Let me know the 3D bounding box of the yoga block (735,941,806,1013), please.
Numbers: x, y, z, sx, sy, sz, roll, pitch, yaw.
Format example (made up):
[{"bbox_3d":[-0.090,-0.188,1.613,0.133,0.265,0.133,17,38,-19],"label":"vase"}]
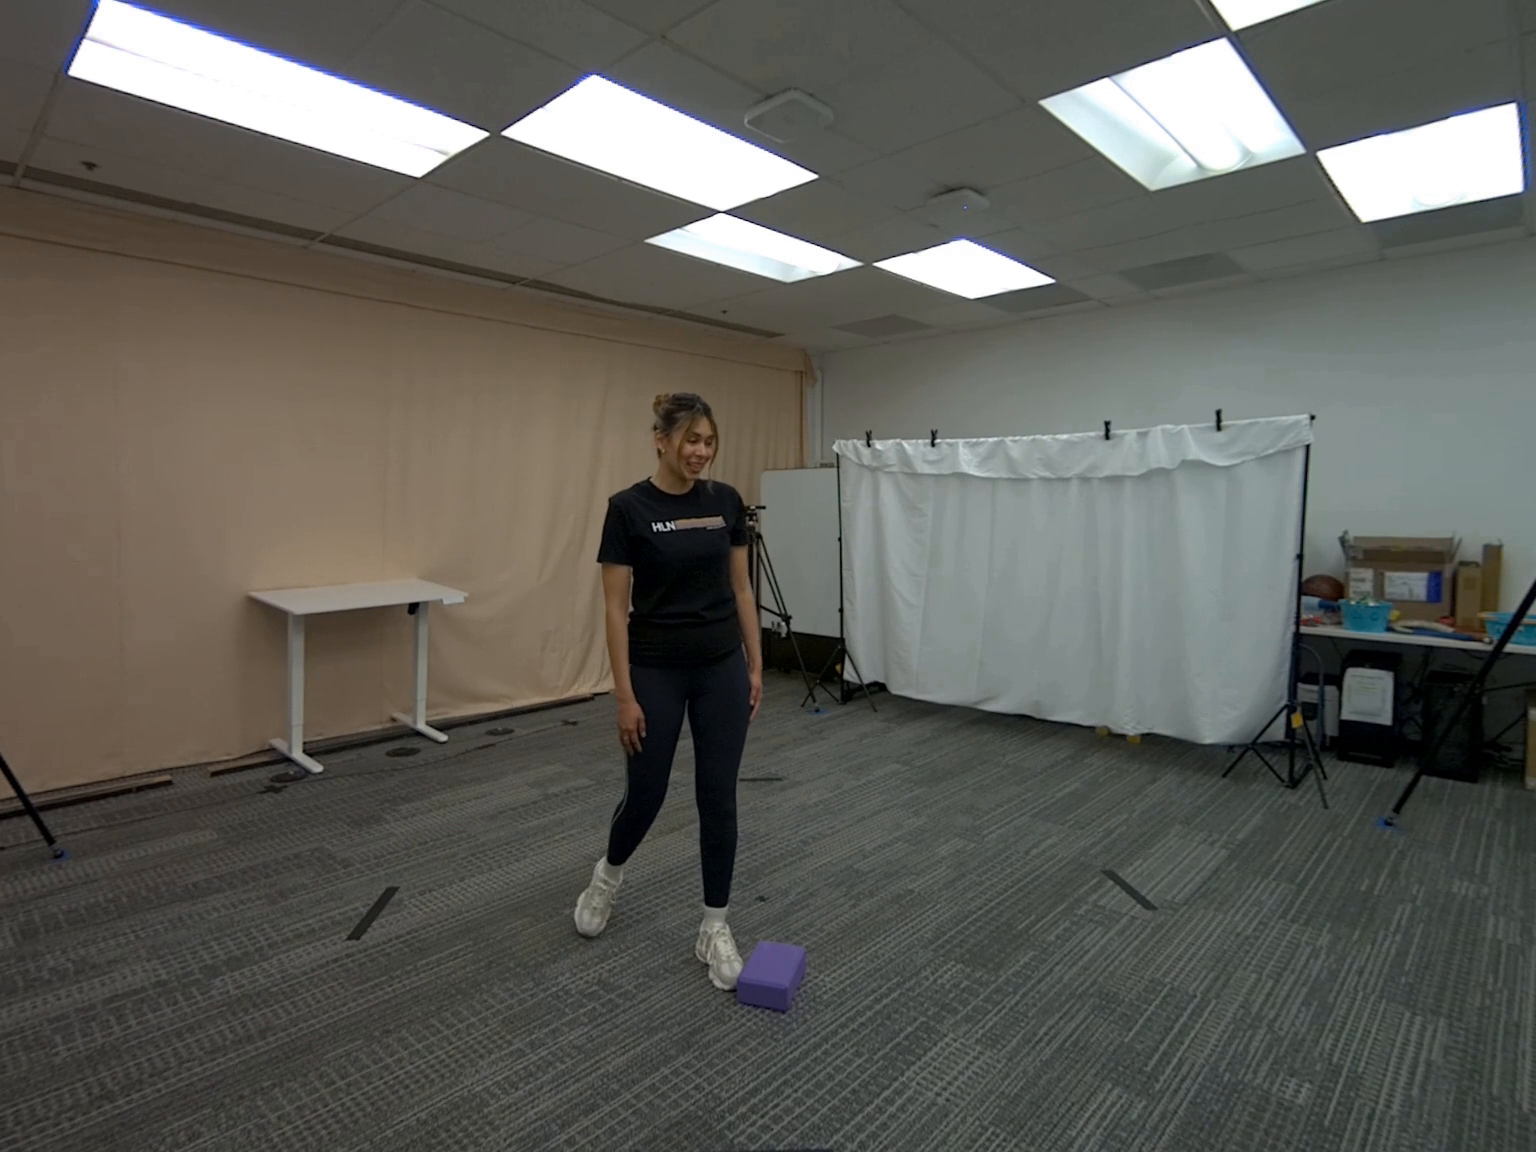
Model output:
[{"bbox_3d":[0.016,1.147,2.430,0.152,0.076,0.225,0,4,17],"label":"yoga block"}]
